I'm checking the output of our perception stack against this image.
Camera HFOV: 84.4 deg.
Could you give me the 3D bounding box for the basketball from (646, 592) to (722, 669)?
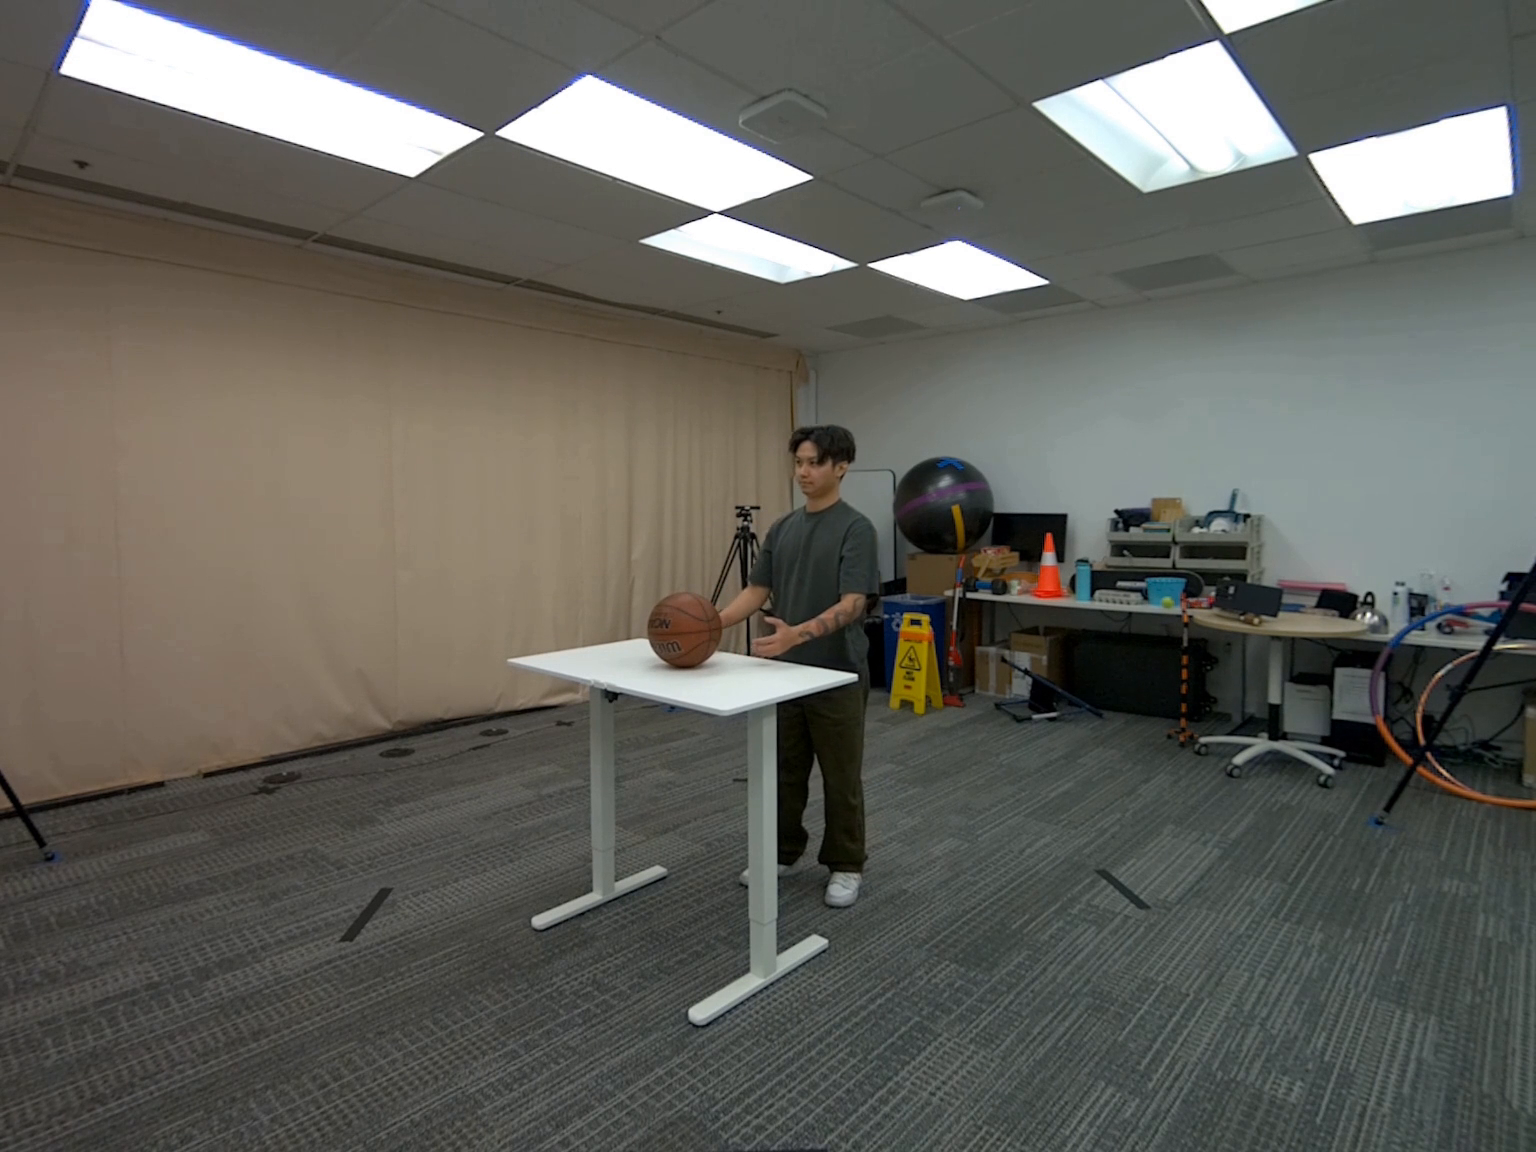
[{"bbox_3d":[-0.257,0.172,2.683,0.236,0.235,0.237,0,4,-2],"label":"basketball"}]
